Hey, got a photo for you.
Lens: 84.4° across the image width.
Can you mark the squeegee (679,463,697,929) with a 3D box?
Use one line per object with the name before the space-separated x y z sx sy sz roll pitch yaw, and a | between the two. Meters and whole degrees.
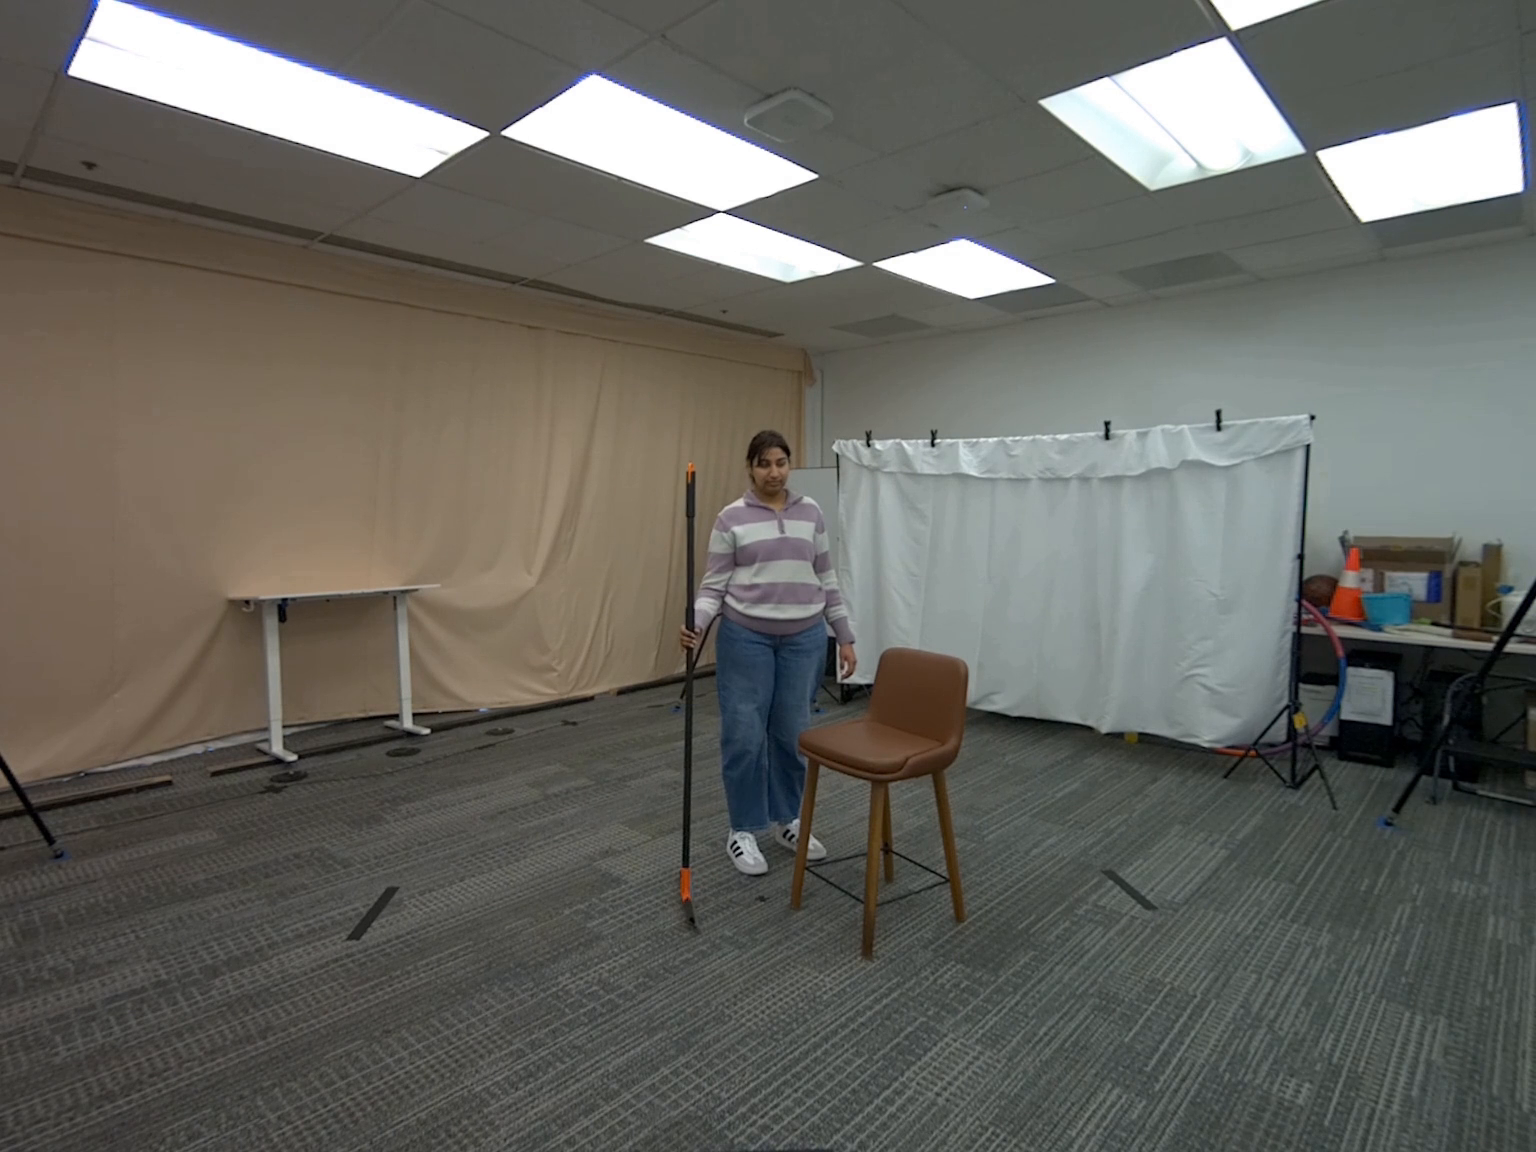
squeegee | -0.264 0.380 2.944 0.052 1.538 0.442 -1 0 -11
